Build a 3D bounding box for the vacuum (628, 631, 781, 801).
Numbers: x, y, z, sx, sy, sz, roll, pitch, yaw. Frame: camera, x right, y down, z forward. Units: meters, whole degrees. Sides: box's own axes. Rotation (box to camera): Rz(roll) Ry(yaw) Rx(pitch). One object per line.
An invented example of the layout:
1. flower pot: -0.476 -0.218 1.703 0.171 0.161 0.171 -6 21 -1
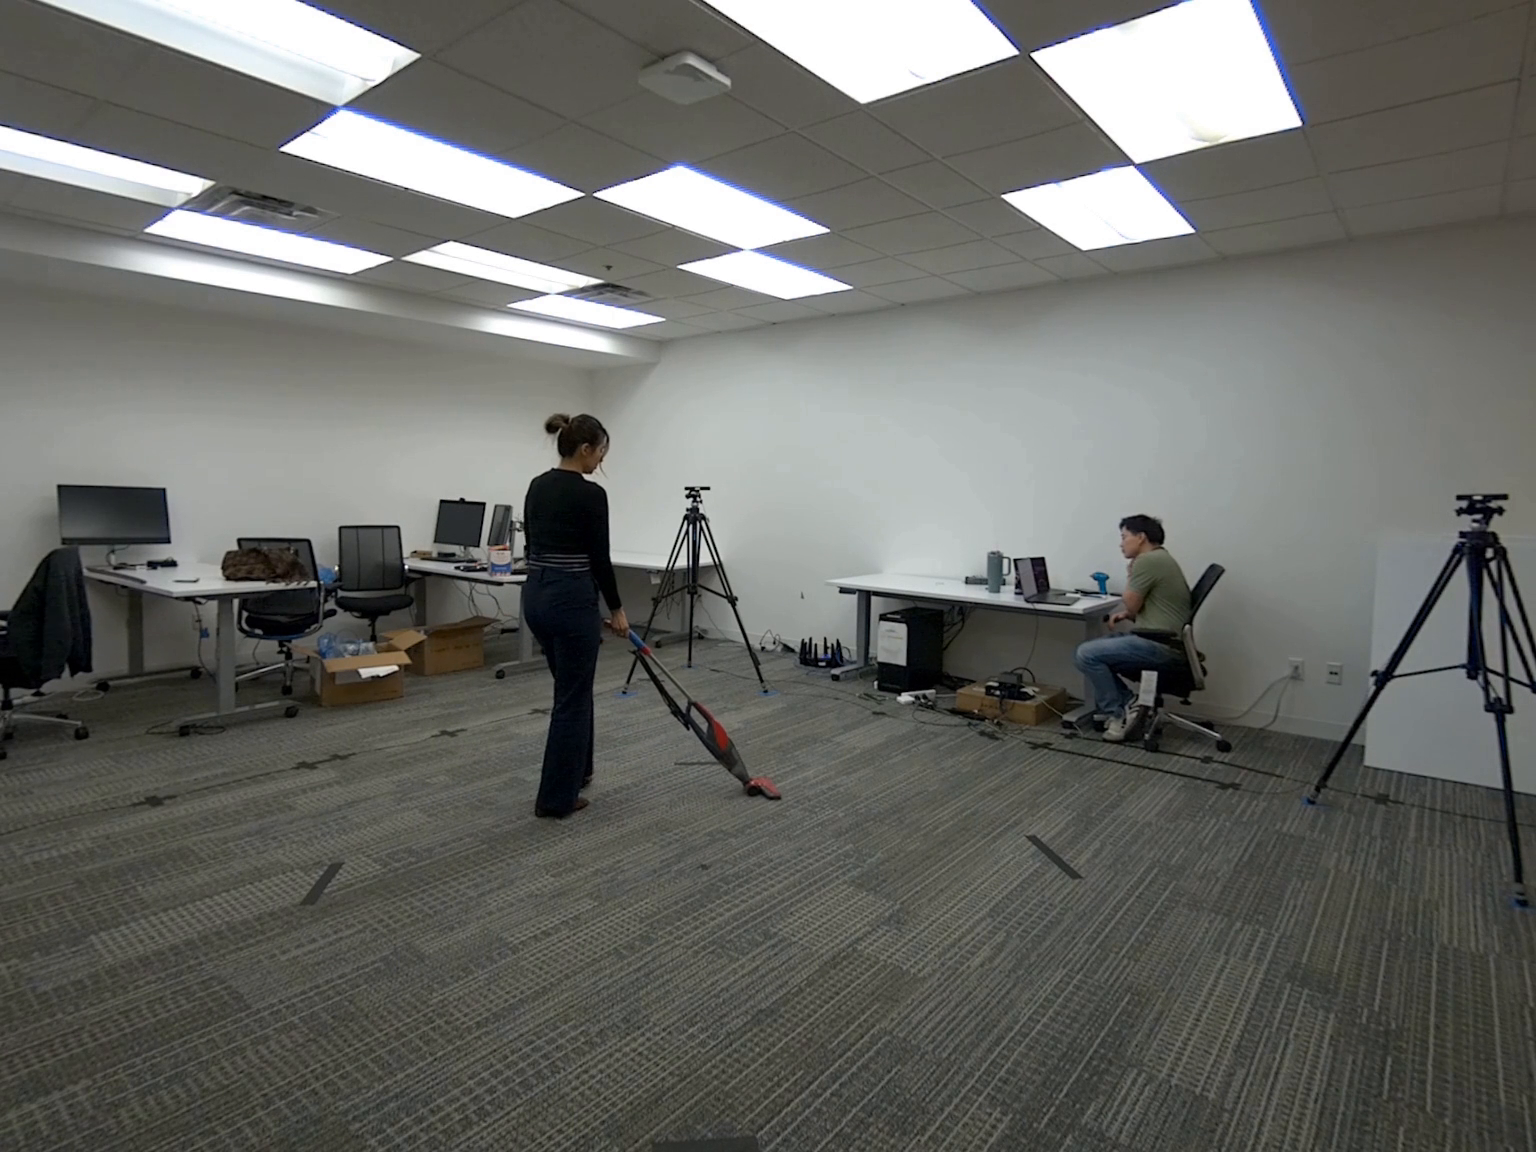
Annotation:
1. vacuum: -0.374 0.591 3.828 0.144 1.033 0.257 -42 11 -10
